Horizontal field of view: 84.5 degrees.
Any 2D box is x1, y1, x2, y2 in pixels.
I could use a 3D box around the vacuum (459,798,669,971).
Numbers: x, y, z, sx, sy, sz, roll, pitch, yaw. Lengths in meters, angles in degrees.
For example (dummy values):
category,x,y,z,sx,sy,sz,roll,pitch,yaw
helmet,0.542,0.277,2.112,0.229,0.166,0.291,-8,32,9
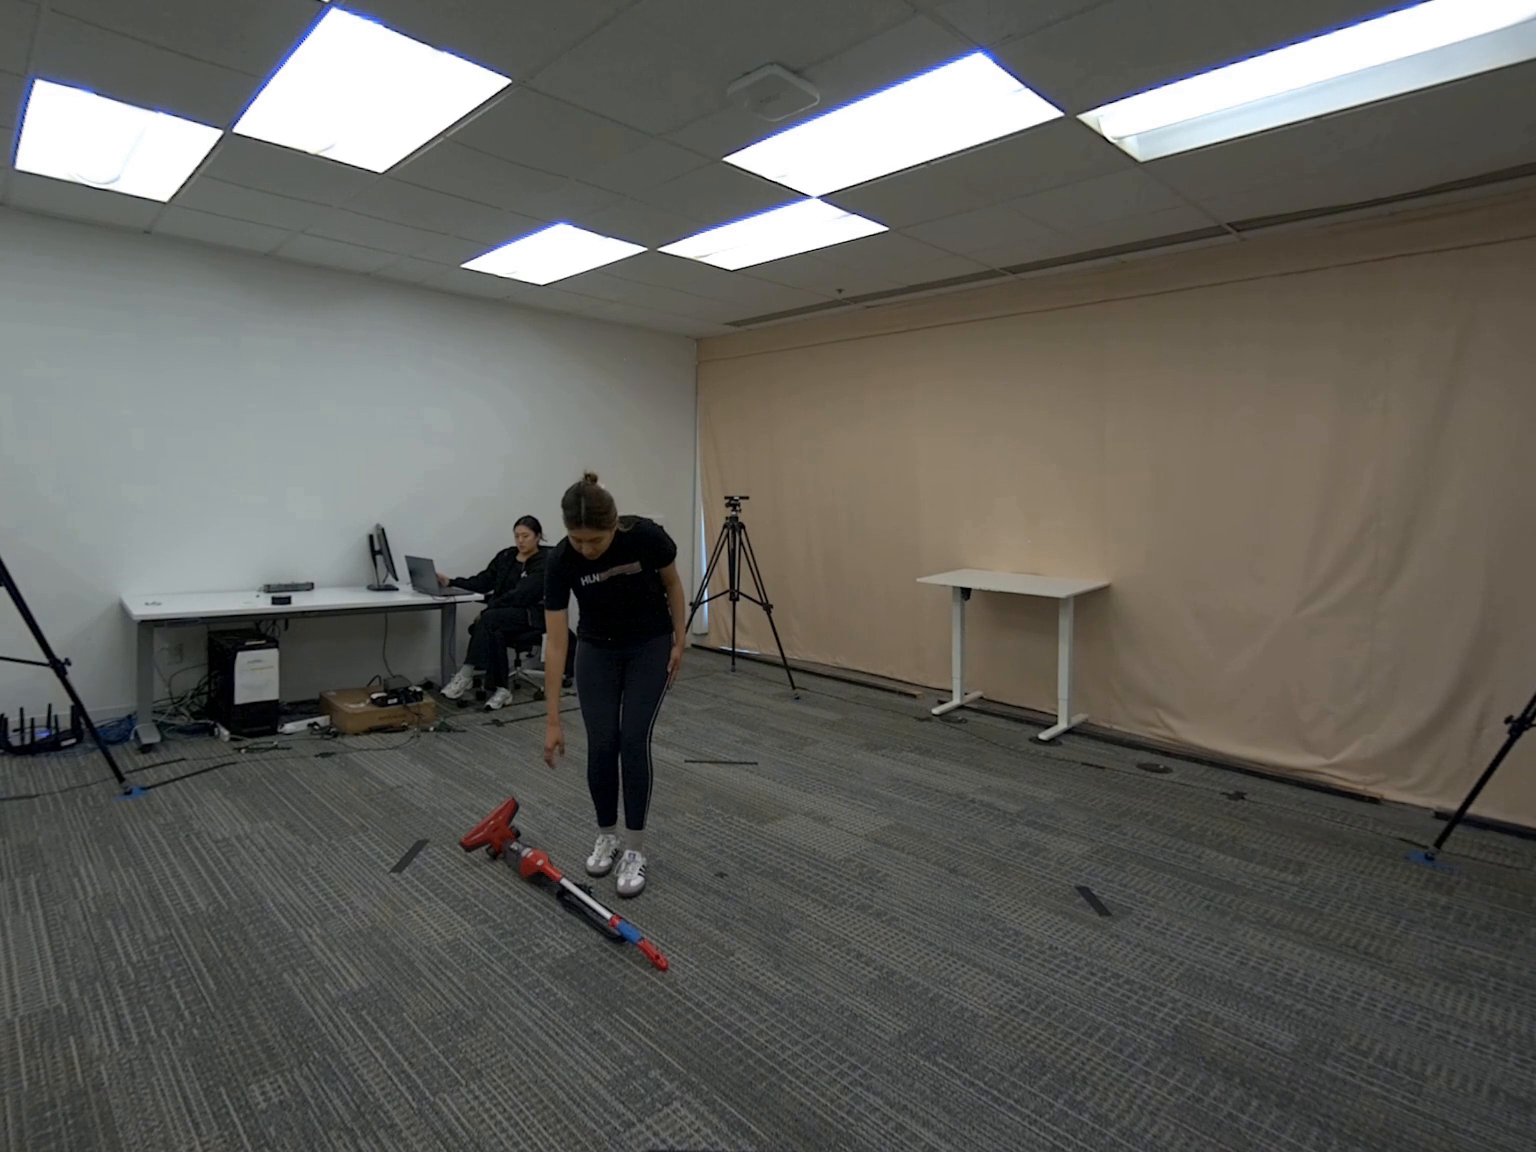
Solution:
category,x,y,z,sx,sy,sz,roll,pitch,yaw
vacuum,-0.681,1.069,2.841,1.079,0.140,0.251,14,43,45
